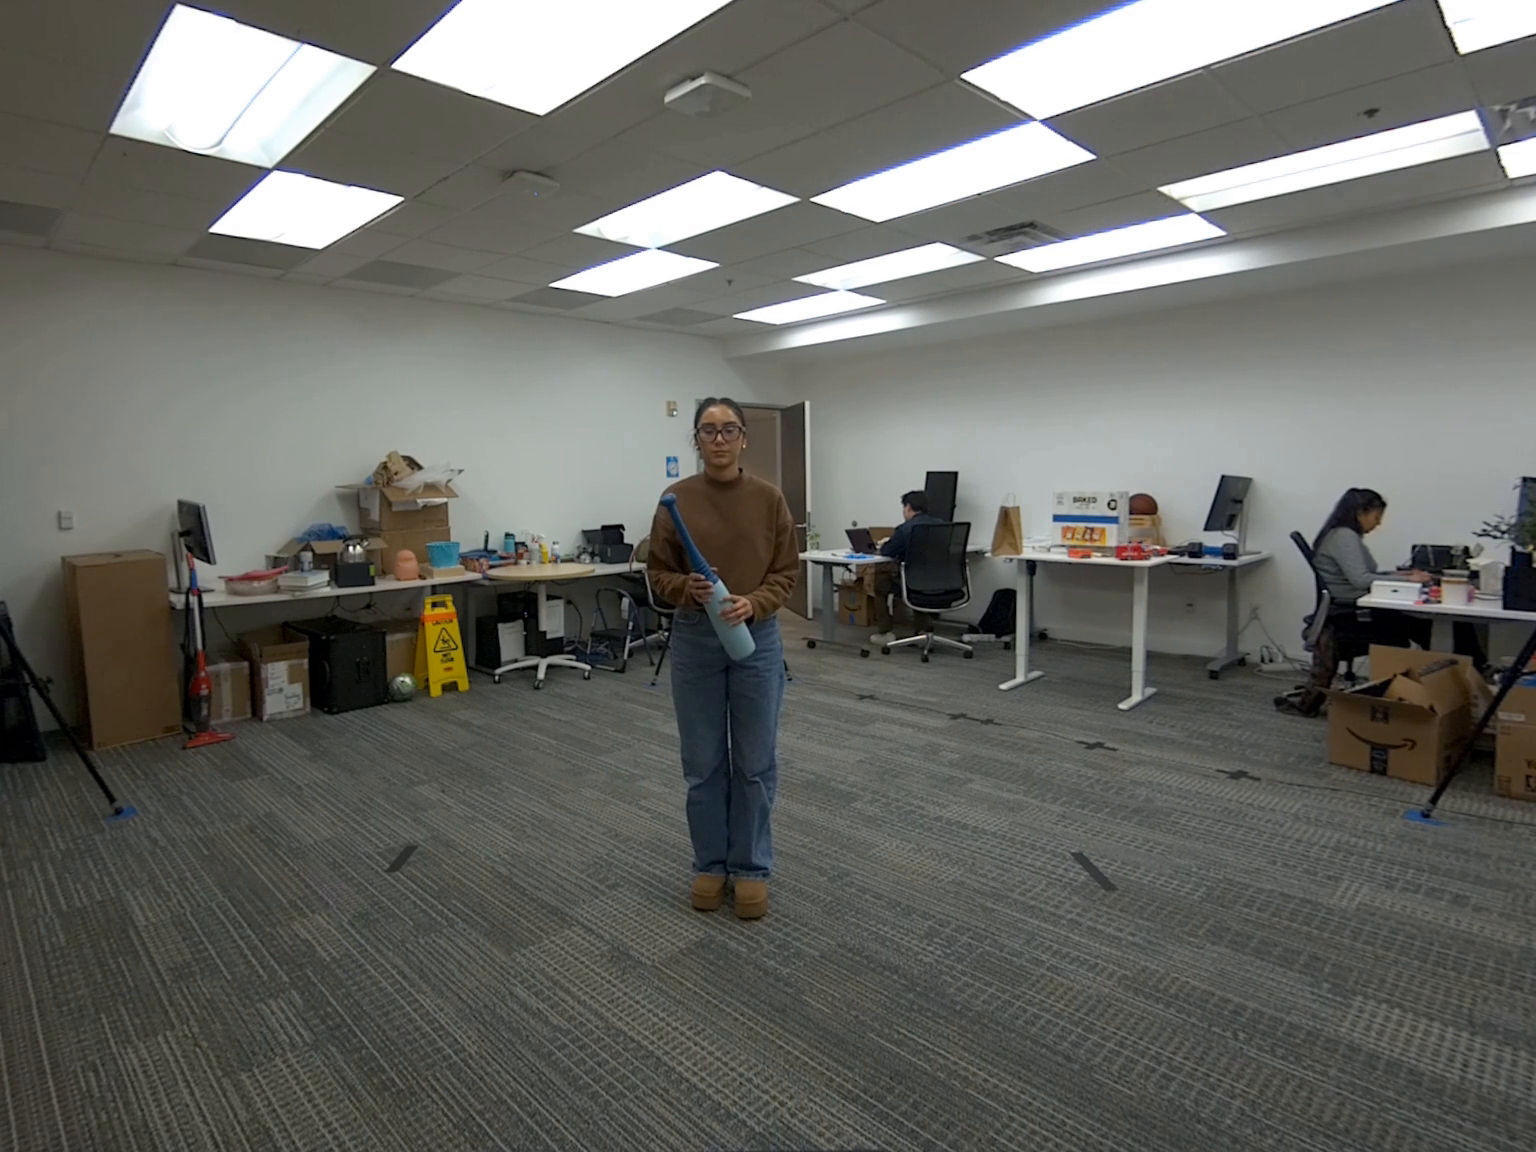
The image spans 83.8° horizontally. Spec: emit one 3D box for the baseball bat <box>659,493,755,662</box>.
[{"bbox_3d":[-0.183,0.013,2.488,0.089,0.533,0.090,-24,16,6],"label":"baseball bat"}]
